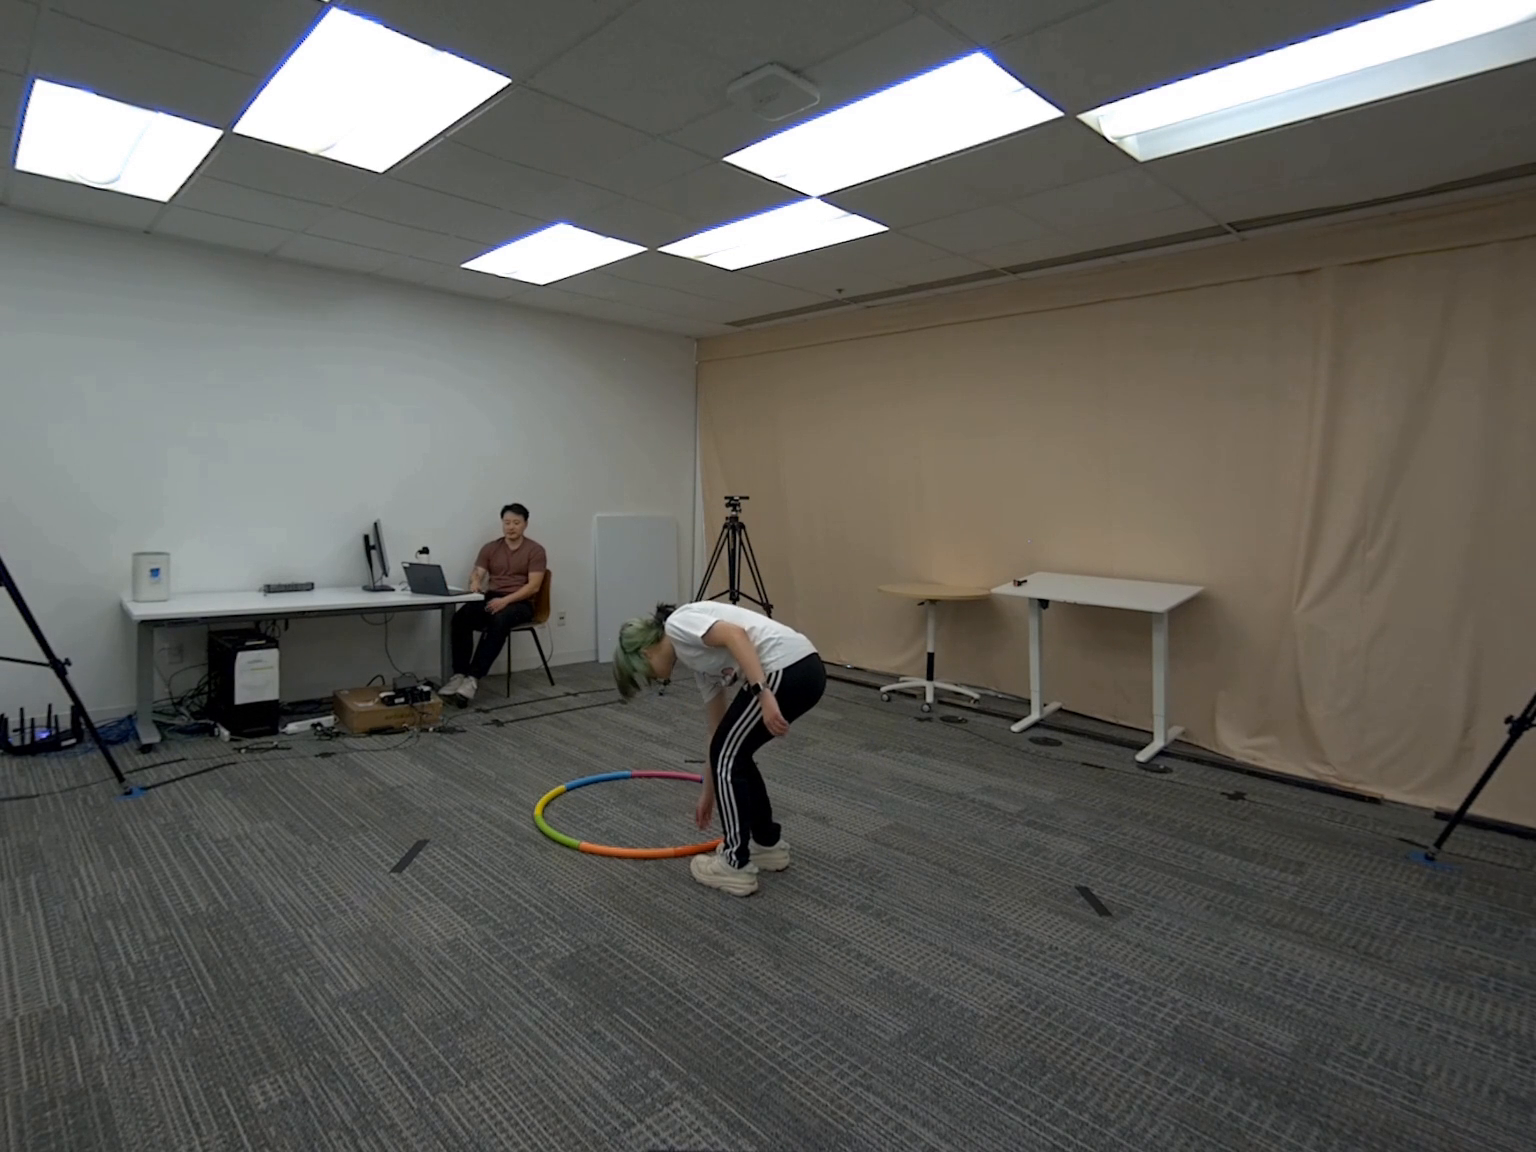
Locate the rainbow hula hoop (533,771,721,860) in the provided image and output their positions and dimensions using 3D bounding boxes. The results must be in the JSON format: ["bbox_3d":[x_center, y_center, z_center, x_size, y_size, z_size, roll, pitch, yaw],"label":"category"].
[{"bbox_3d":[-0.529,1.011,3.703,0.978,0.035,0.982,2,5,-1],"label":"rainbow hula hoop"}]
